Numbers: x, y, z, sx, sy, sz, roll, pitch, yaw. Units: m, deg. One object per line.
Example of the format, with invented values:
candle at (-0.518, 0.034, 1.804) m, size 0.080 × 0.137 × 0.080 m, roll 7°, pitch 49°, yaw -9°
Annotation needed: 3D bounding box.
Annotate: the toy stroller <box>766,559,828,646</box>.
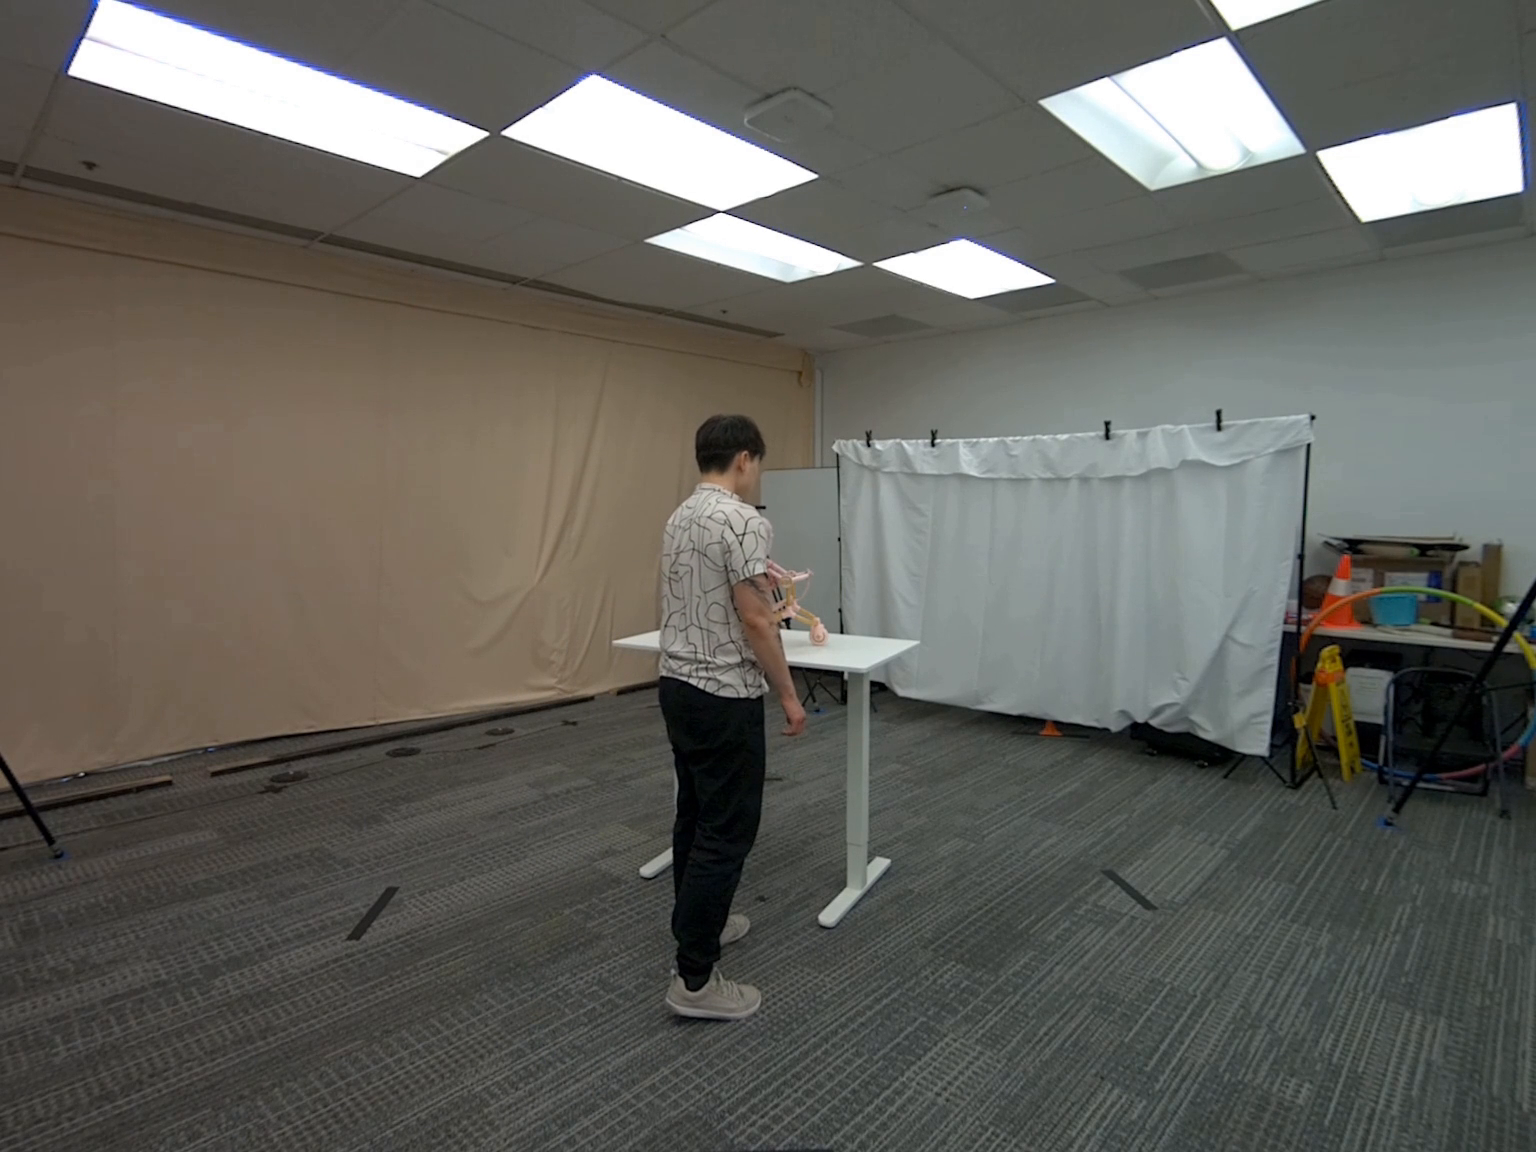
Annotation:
toy stroller at (0.003, 0.027, 3.095) m, size 0.346 × 0.535 × 0.277 m, roll -14°, pitch 0°, yaw 15°
